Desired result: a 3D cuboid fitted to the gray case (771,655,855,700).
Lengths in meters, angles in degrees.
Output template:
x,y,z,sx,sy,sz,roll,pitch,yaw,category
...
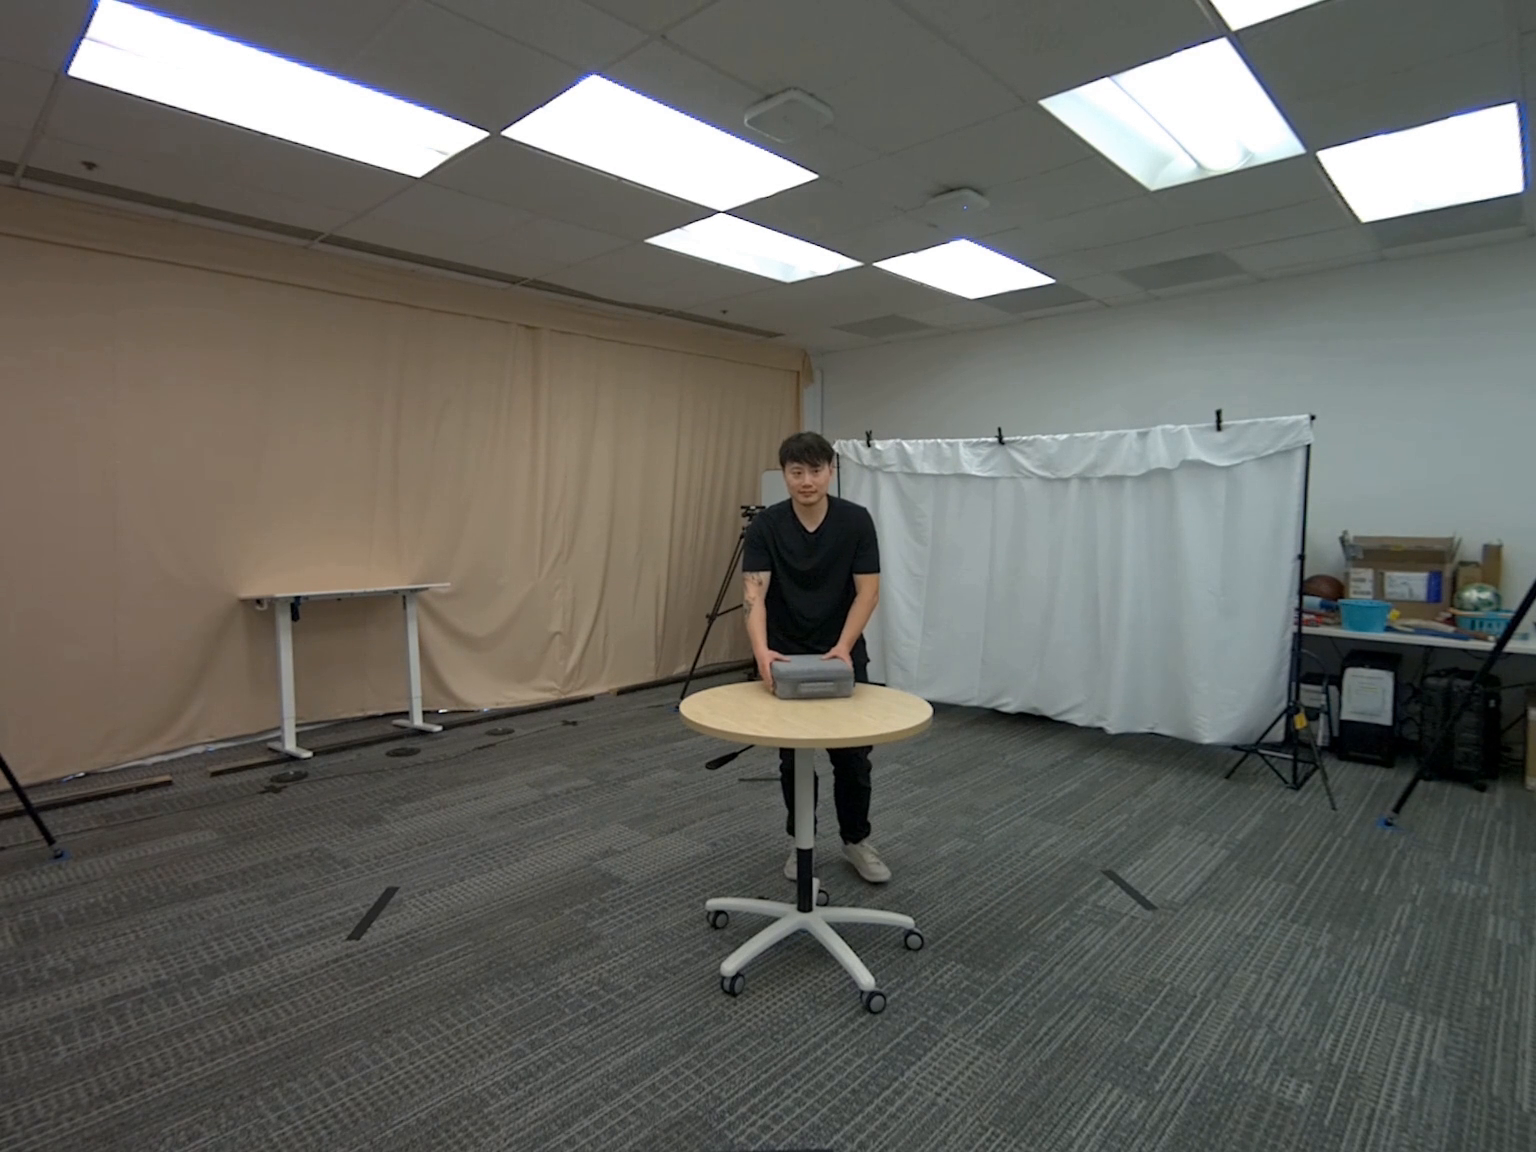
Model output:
x,y,z,sx,sy,sz,roll,pitch,yaw,category
0.141,0.329,2.770,0.255,0.104,0.263,1,4,-8,gray case
